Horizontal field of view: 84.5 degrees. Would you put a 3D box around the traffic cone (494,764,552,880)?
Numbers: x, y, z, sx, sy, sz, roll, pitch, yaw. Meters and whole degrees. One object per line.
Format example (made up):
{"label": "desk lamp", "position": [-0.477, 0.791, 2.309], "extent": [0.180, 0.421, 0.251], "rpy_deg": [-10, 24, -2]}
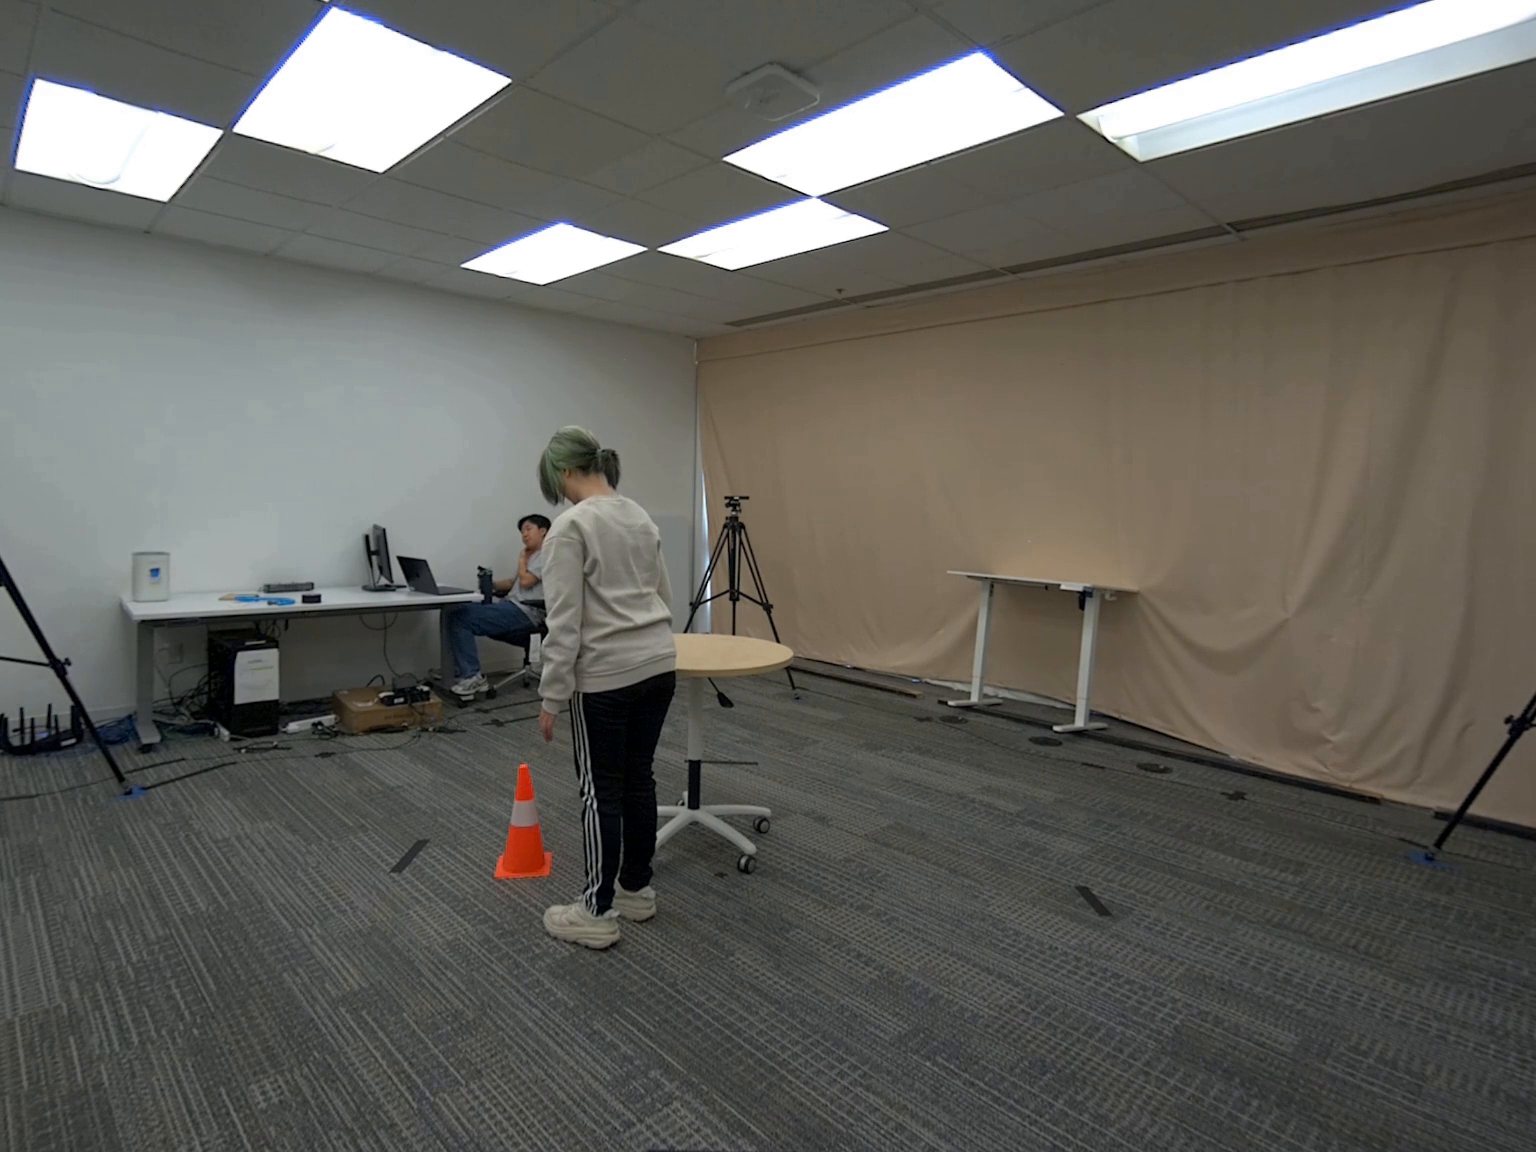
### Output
{"label": "traffic cone", "position": [-0.917, 0.900, 3.136], "extent": [0.202, 0.383, 0.207], "rpy_deg": [2, 4, -9]}
